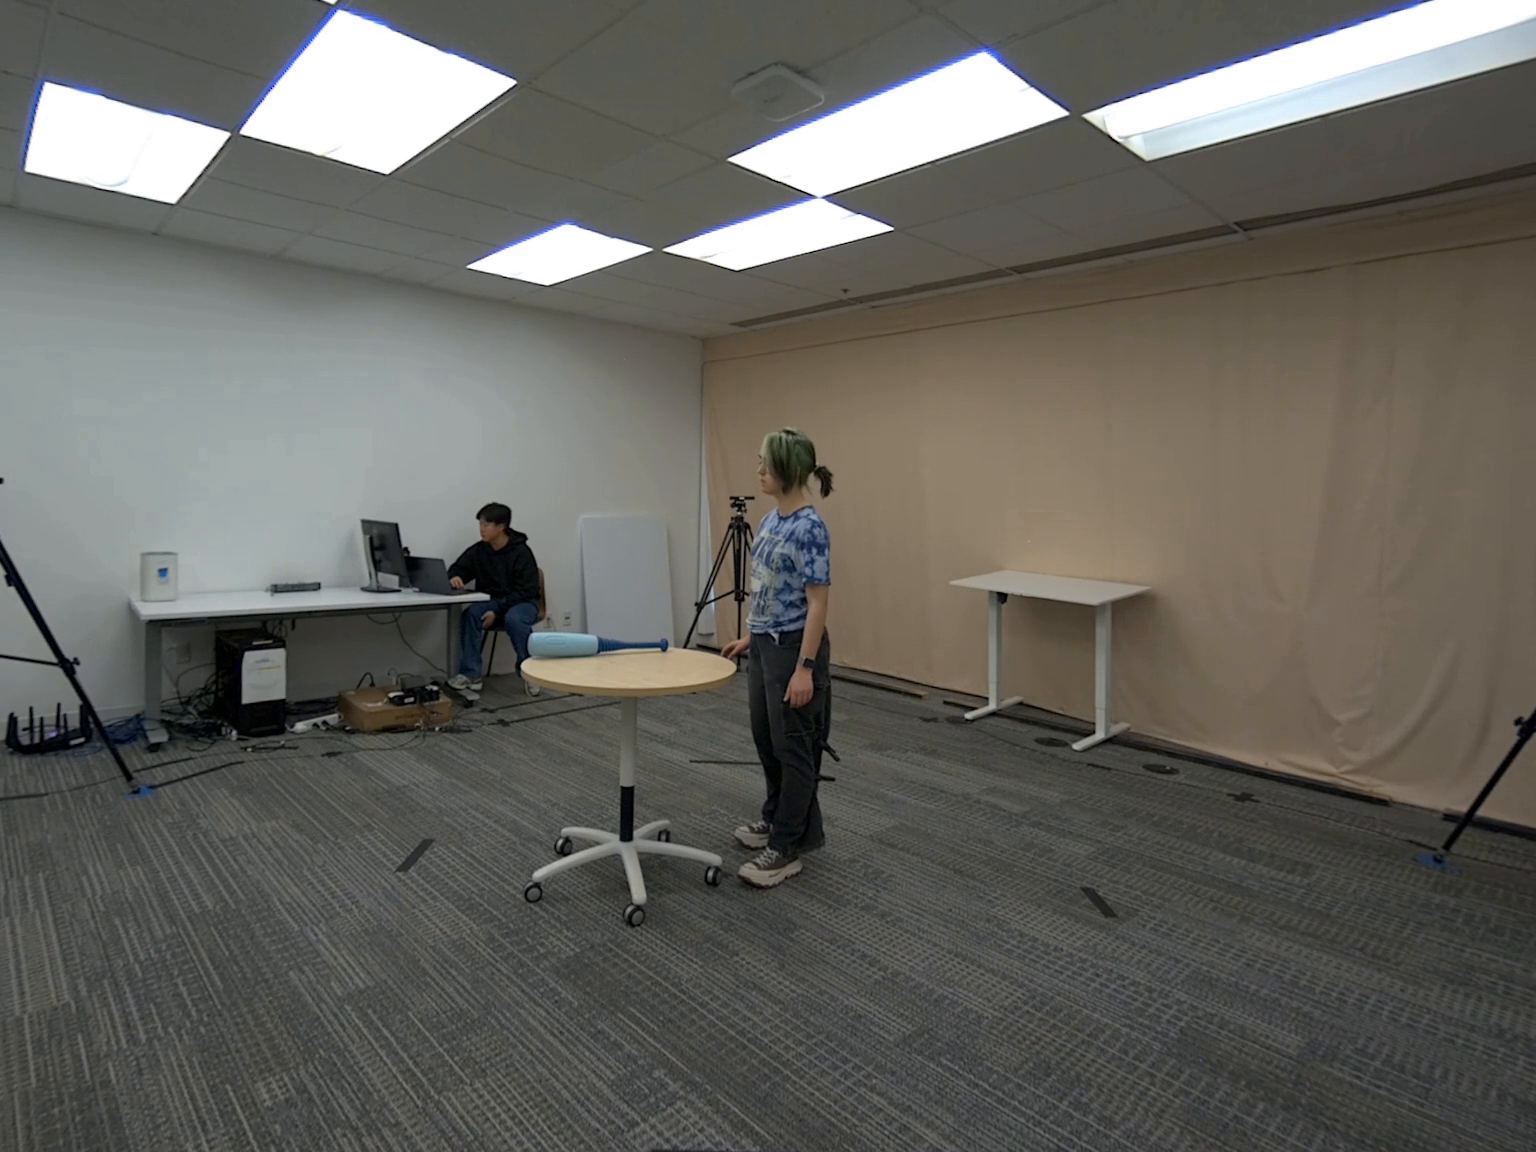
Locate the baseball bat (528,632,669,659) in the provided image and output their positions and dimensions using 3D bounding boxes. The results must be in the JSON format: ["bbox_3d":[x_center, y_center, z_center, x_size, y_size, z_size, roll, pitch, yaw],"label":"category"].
[{"bbox_3d":[-0.638,0.266,3.187,0.532,0.089,0.091,3,3,-26],"label":"baseball bat"}]
